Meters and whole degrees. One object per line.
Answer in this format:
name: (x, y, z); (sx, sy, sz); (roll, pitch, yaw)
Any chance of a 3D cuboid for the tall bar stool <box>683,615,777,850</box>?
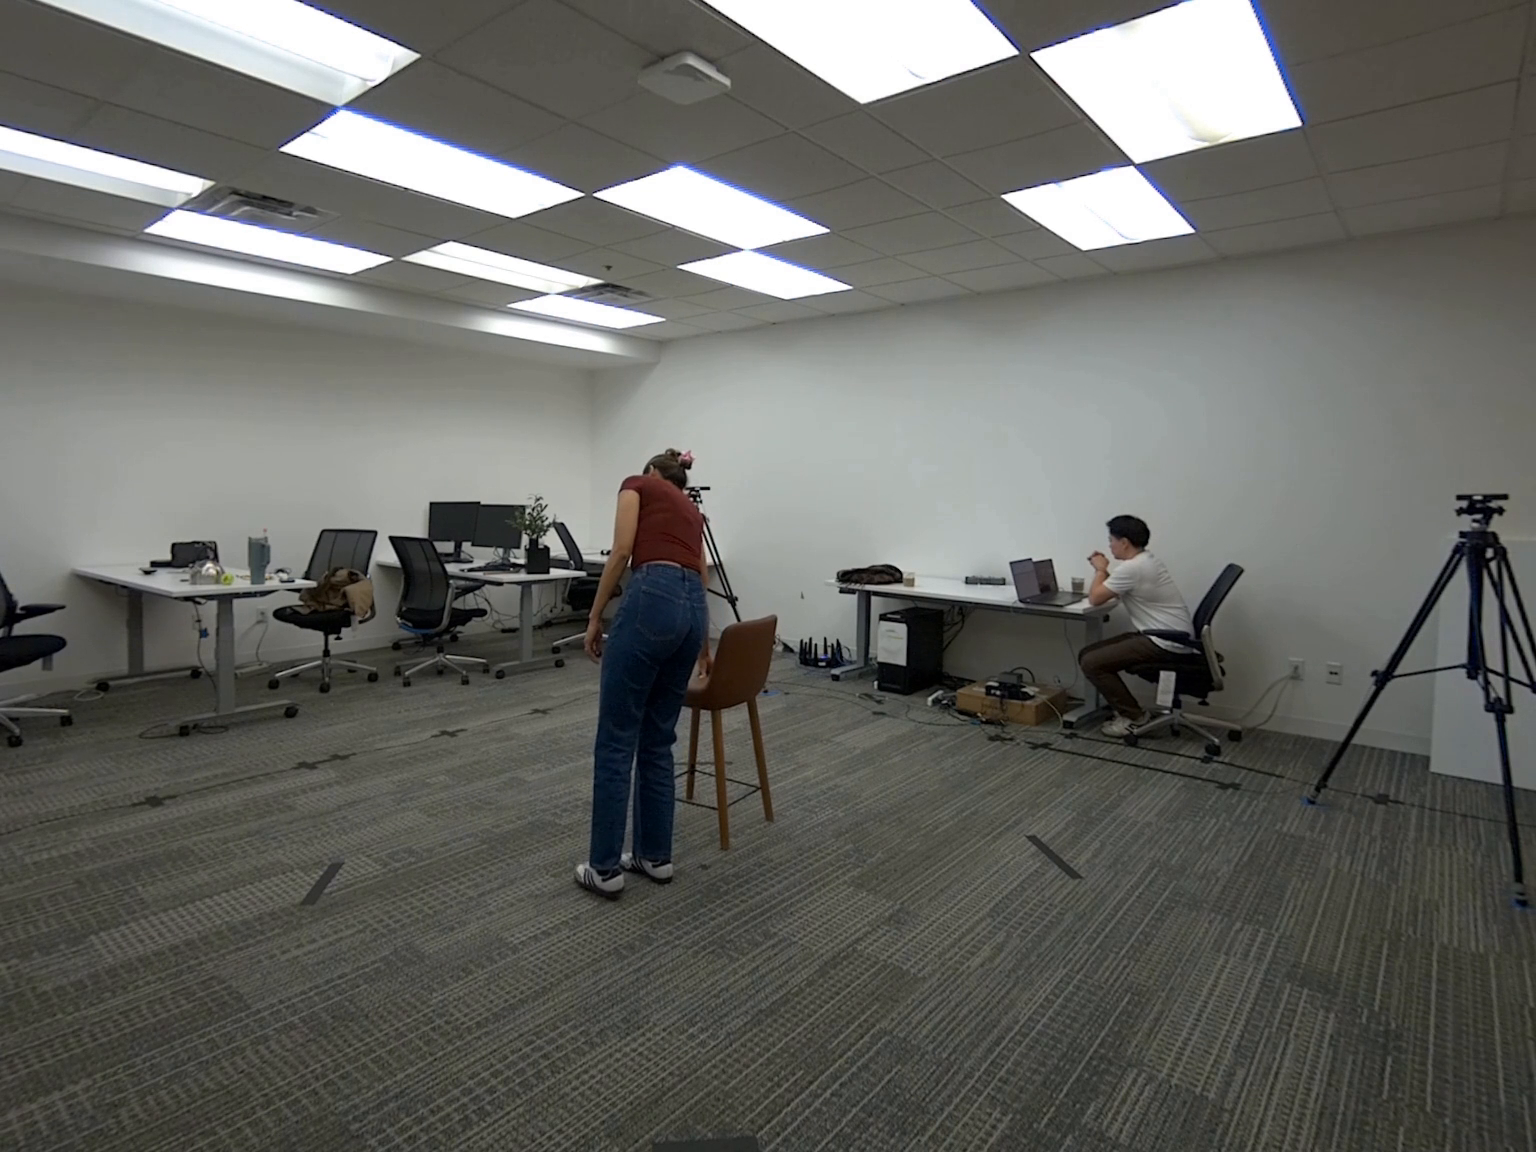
tall bar stool: (-0.260, 0.591, 3.516); (0.482, 0.887, 0.444); (5, 5, 31)
